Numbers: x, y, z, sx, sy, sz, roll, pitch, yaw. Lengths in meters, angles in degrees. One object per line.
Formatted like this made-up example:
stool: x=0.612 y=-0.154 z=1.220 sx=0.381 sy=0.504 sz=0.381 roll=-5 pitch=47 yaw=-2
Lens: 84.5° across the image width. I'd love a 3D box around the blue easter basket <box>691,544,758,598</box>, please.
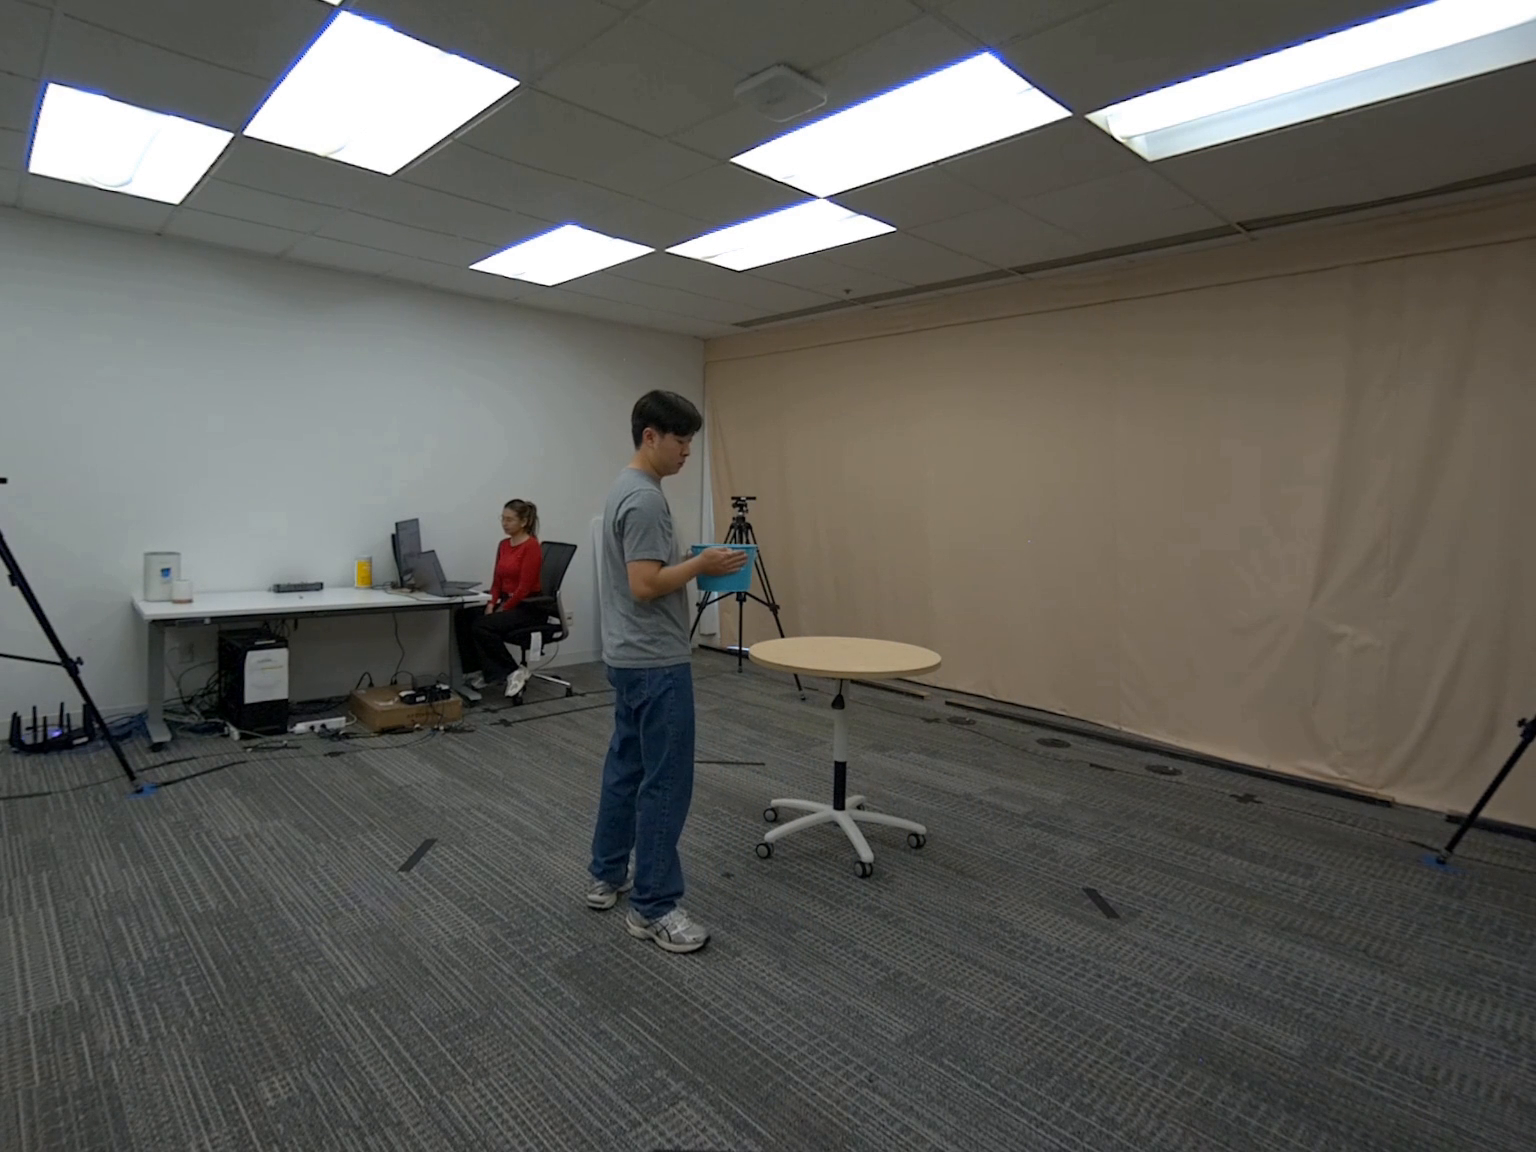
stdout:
blue easter basket: x=-0.162 y=-0.029 z=2.866 sx=0.243 sy=0.156 sz=0.244 roll=0 pitch=2 yaw=-1
